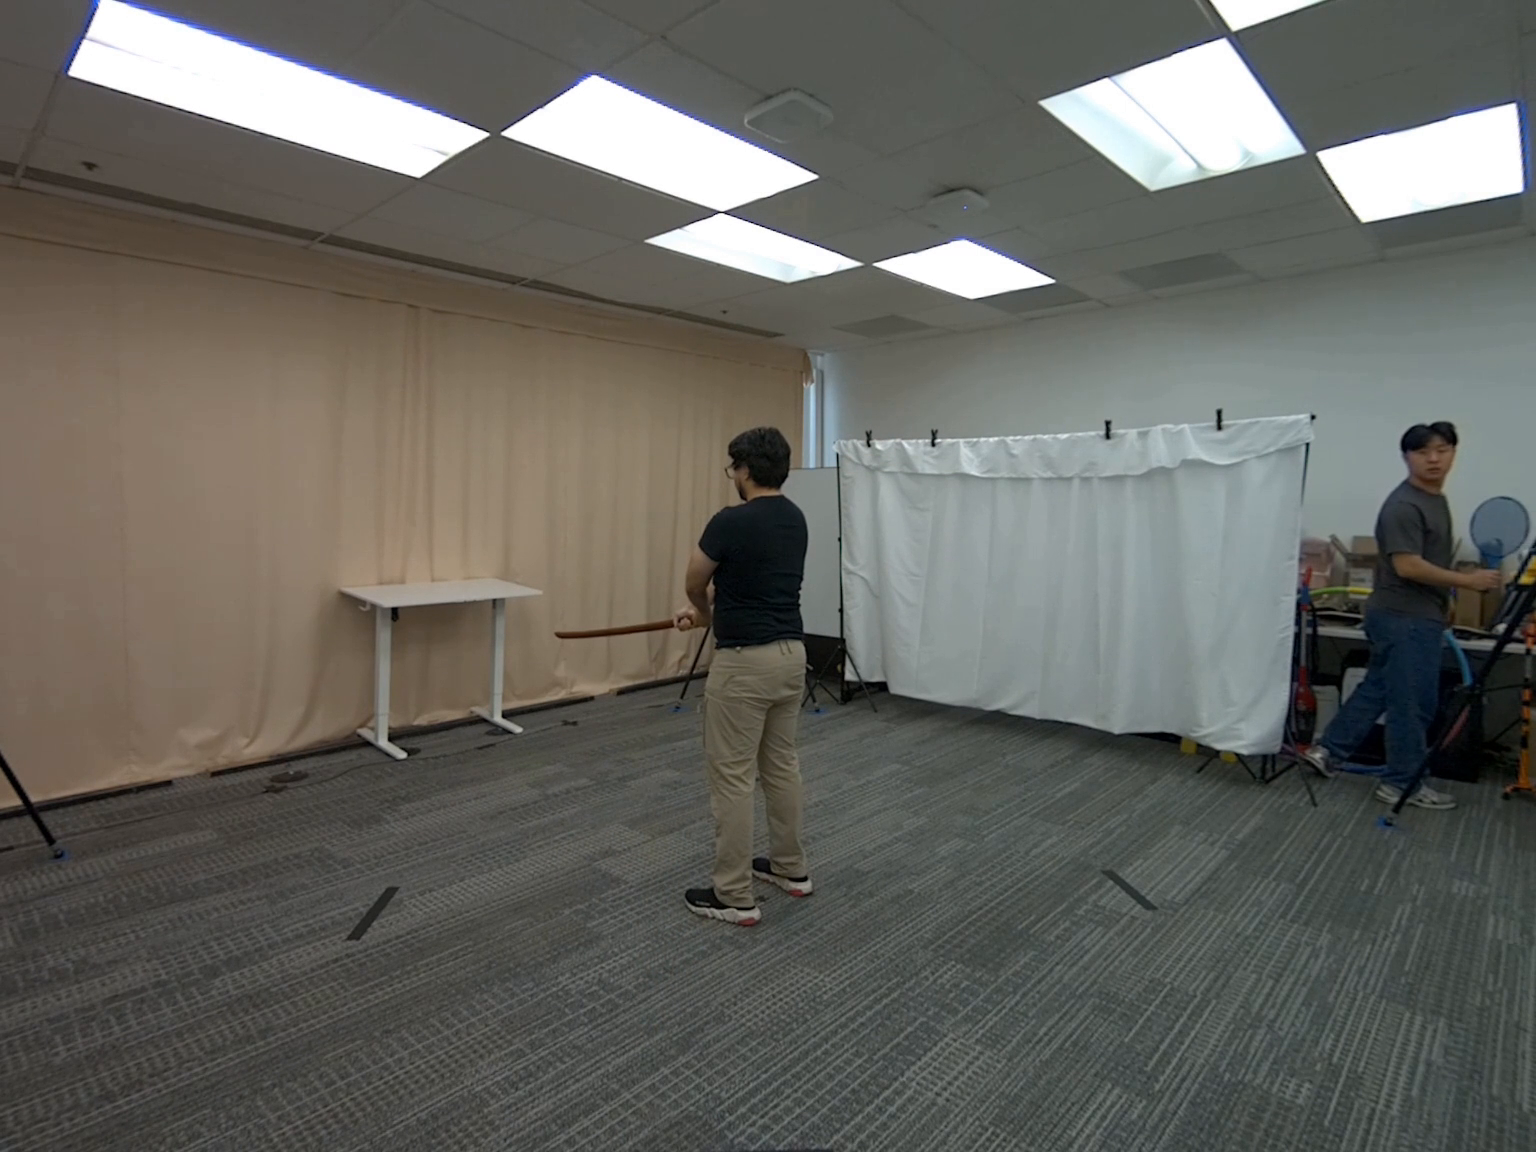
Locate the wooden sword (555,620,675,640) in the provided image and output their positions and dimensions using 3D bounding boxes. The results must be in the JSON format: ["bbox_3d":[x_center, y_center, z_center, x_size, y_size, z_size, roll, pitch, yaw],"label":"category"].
[{"bbox_3d":[-0.639,0.220,3.571,1.054,0.051,0.023,-8,8,43],"label":"wooden sword"}]
